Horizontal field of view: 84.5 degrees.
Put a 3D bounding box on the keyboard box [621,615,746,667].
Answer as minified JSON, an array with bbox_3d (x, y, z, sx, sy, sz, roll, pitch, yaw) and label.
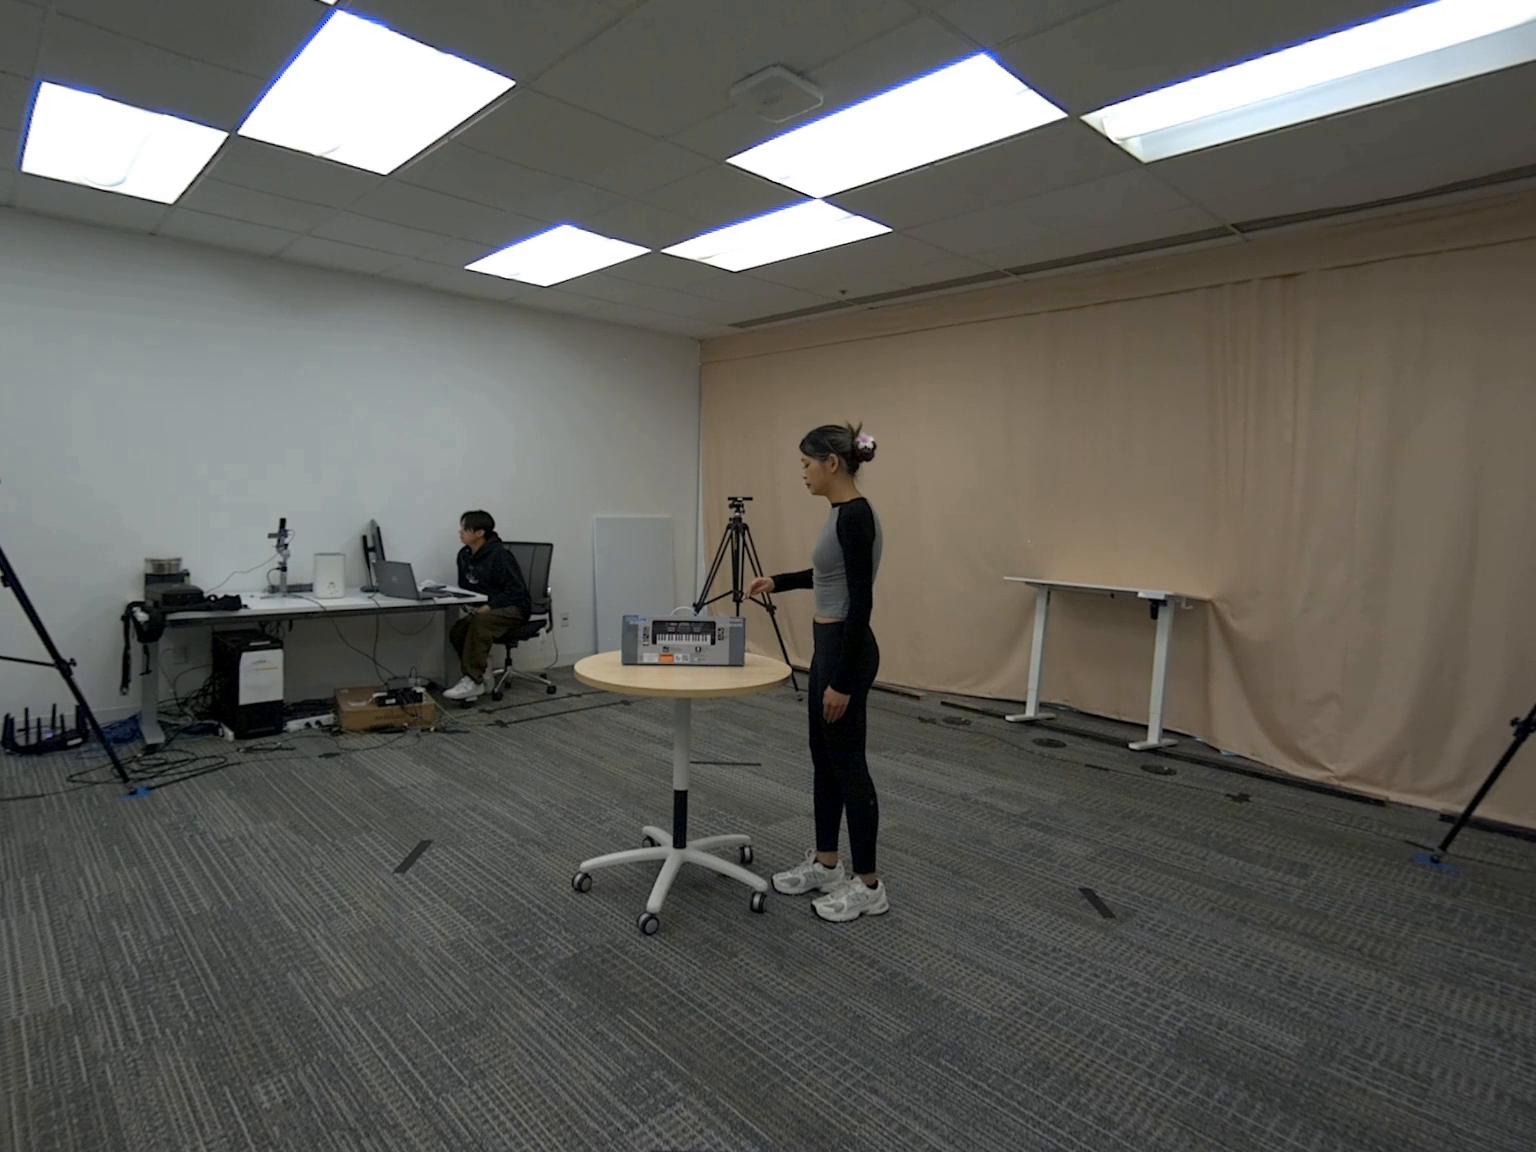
[{"bbox_3d":[-0.305,0.232,3.014,0.435,0.176,0.059,1,-1,-3],"label":"keyboard box"}]
